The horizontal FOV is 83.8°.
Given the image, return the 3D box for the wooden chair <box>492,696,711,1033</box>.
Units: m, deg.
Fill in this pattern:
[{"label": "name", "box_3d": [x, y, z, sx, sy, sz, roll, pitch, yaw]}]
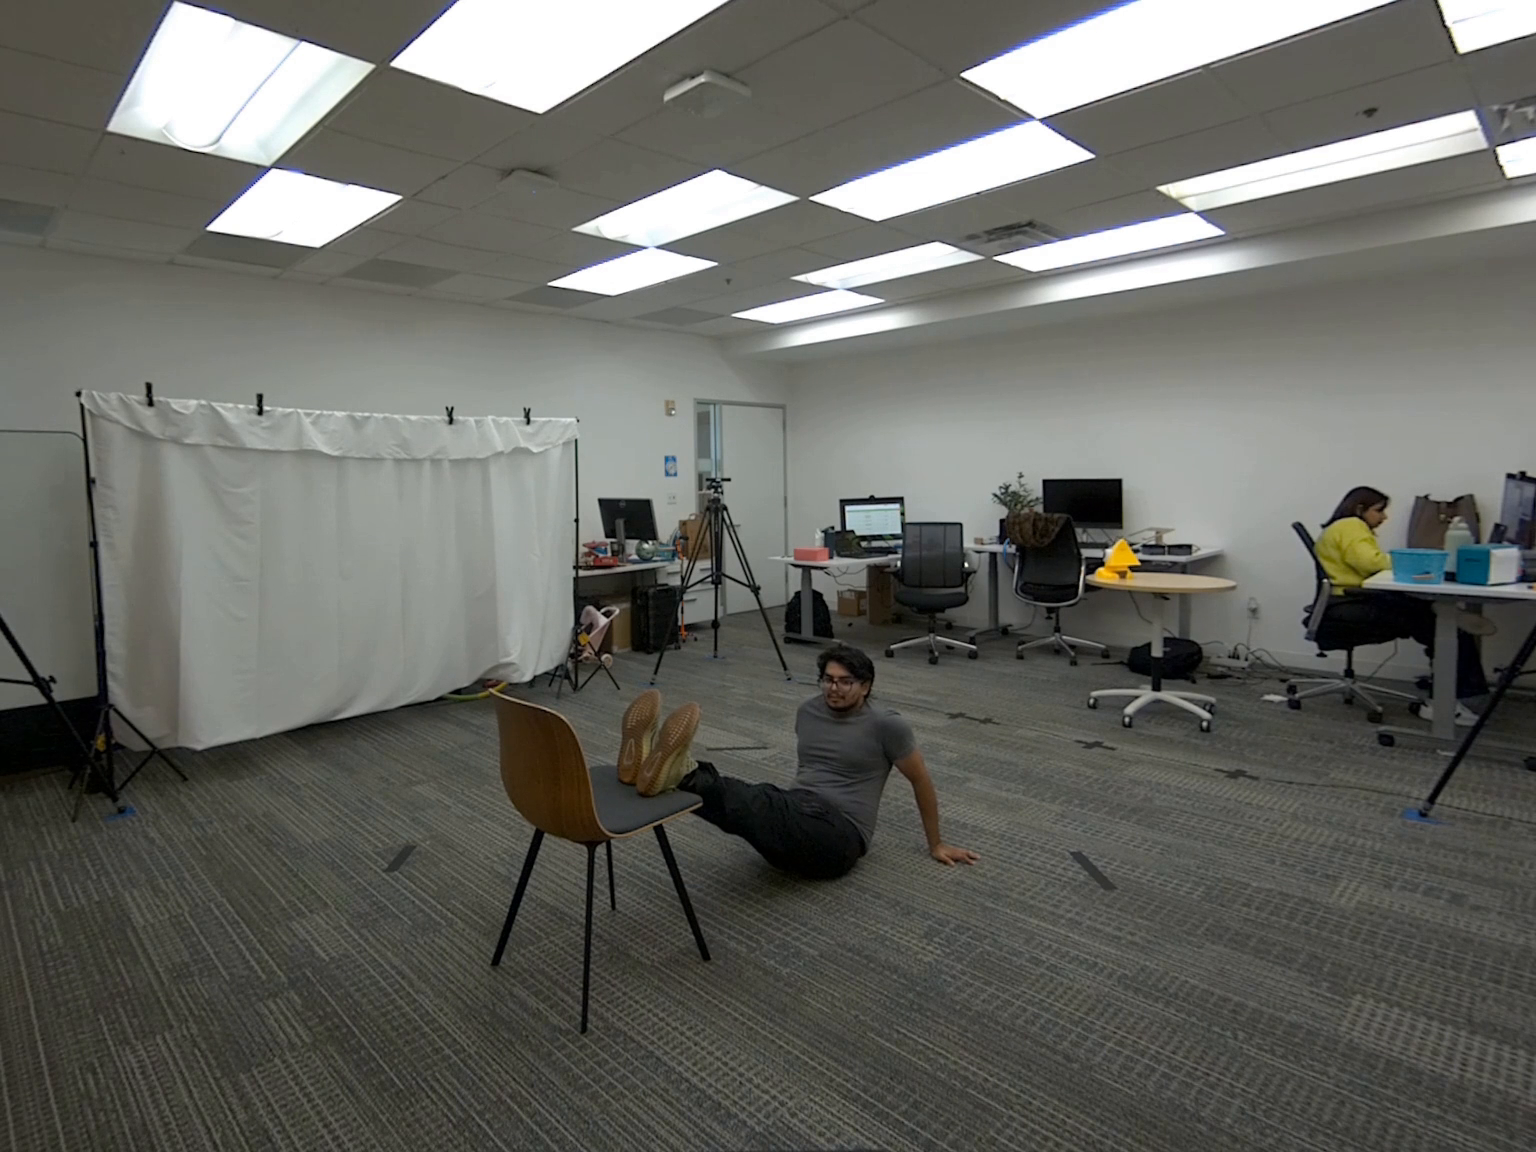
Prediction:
[{"label": "wooden chair", "box_3d": [-0.482, 0.704, 2.452, 0.493, 0.871, 0.511, 4, 10, 43]}]
